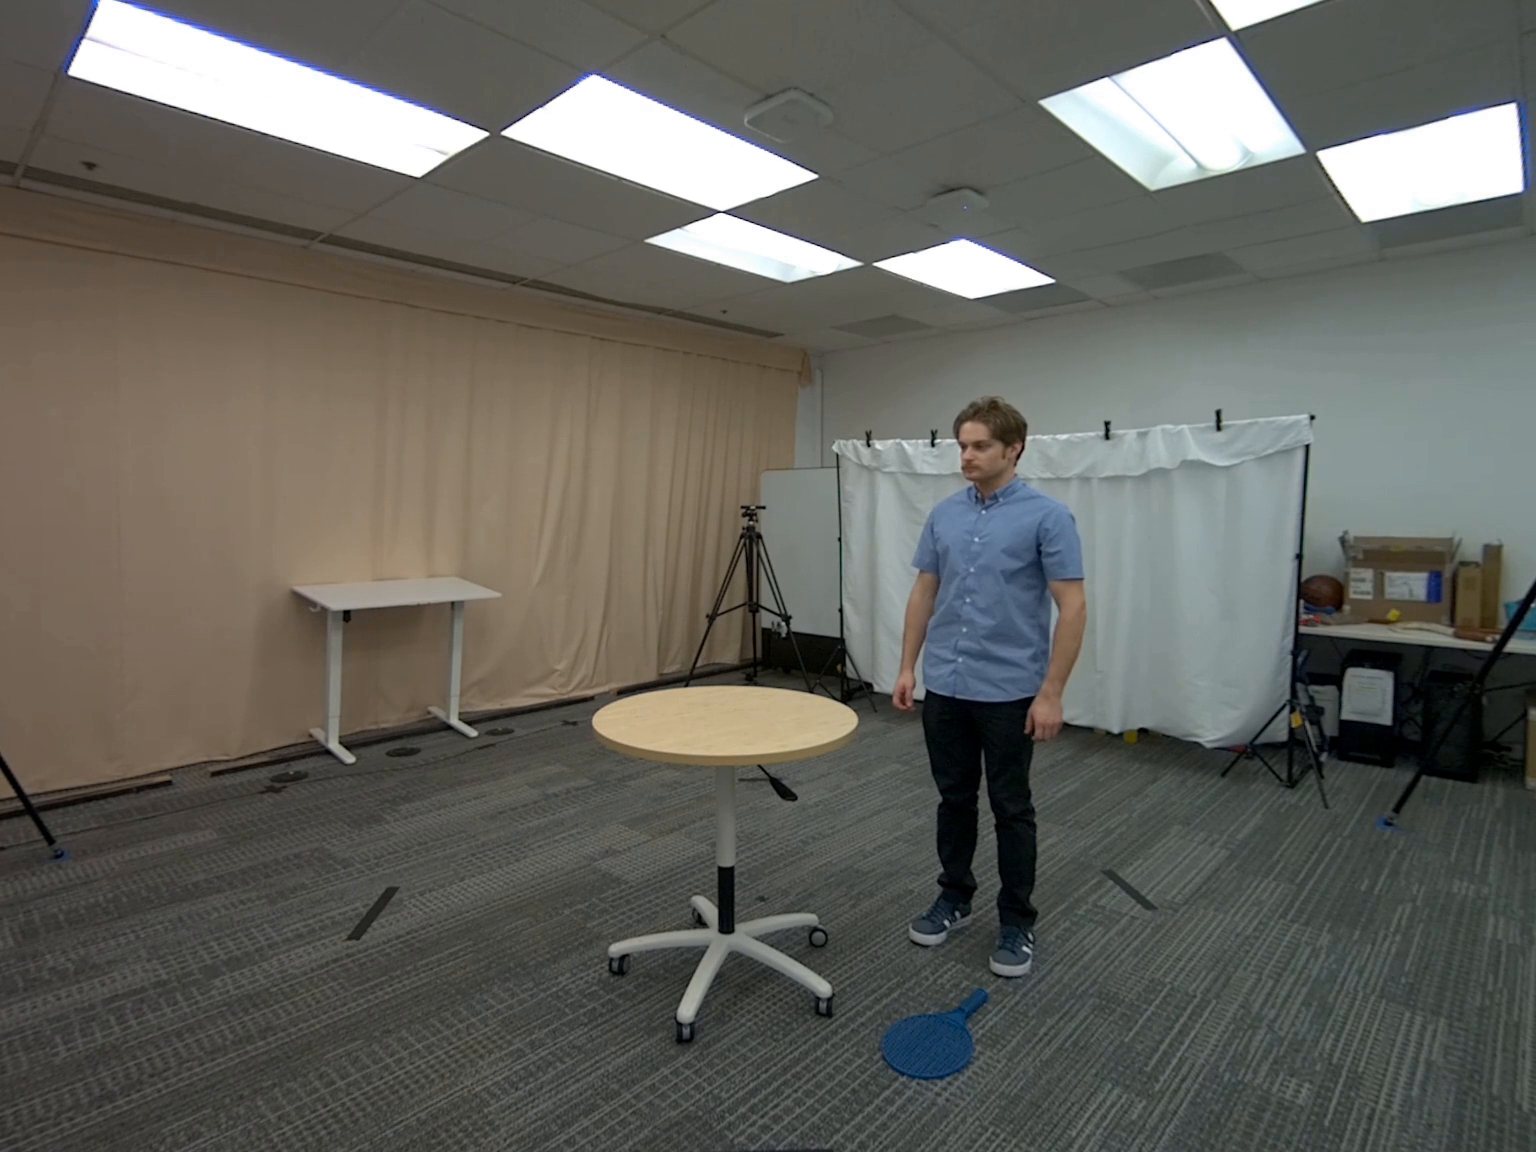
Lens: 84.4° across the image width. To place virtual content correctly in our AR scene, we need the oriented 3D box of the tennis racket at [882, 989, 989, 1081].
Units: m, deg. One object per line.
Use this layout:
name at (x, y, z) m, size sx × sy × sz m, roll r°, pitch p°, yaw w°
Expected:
tennis racket at (0.471, 1.196, 2.217) m, size 0.221 × 0.031 × 0.420 m, roll 4°, pitch 7°, yaw 41°
